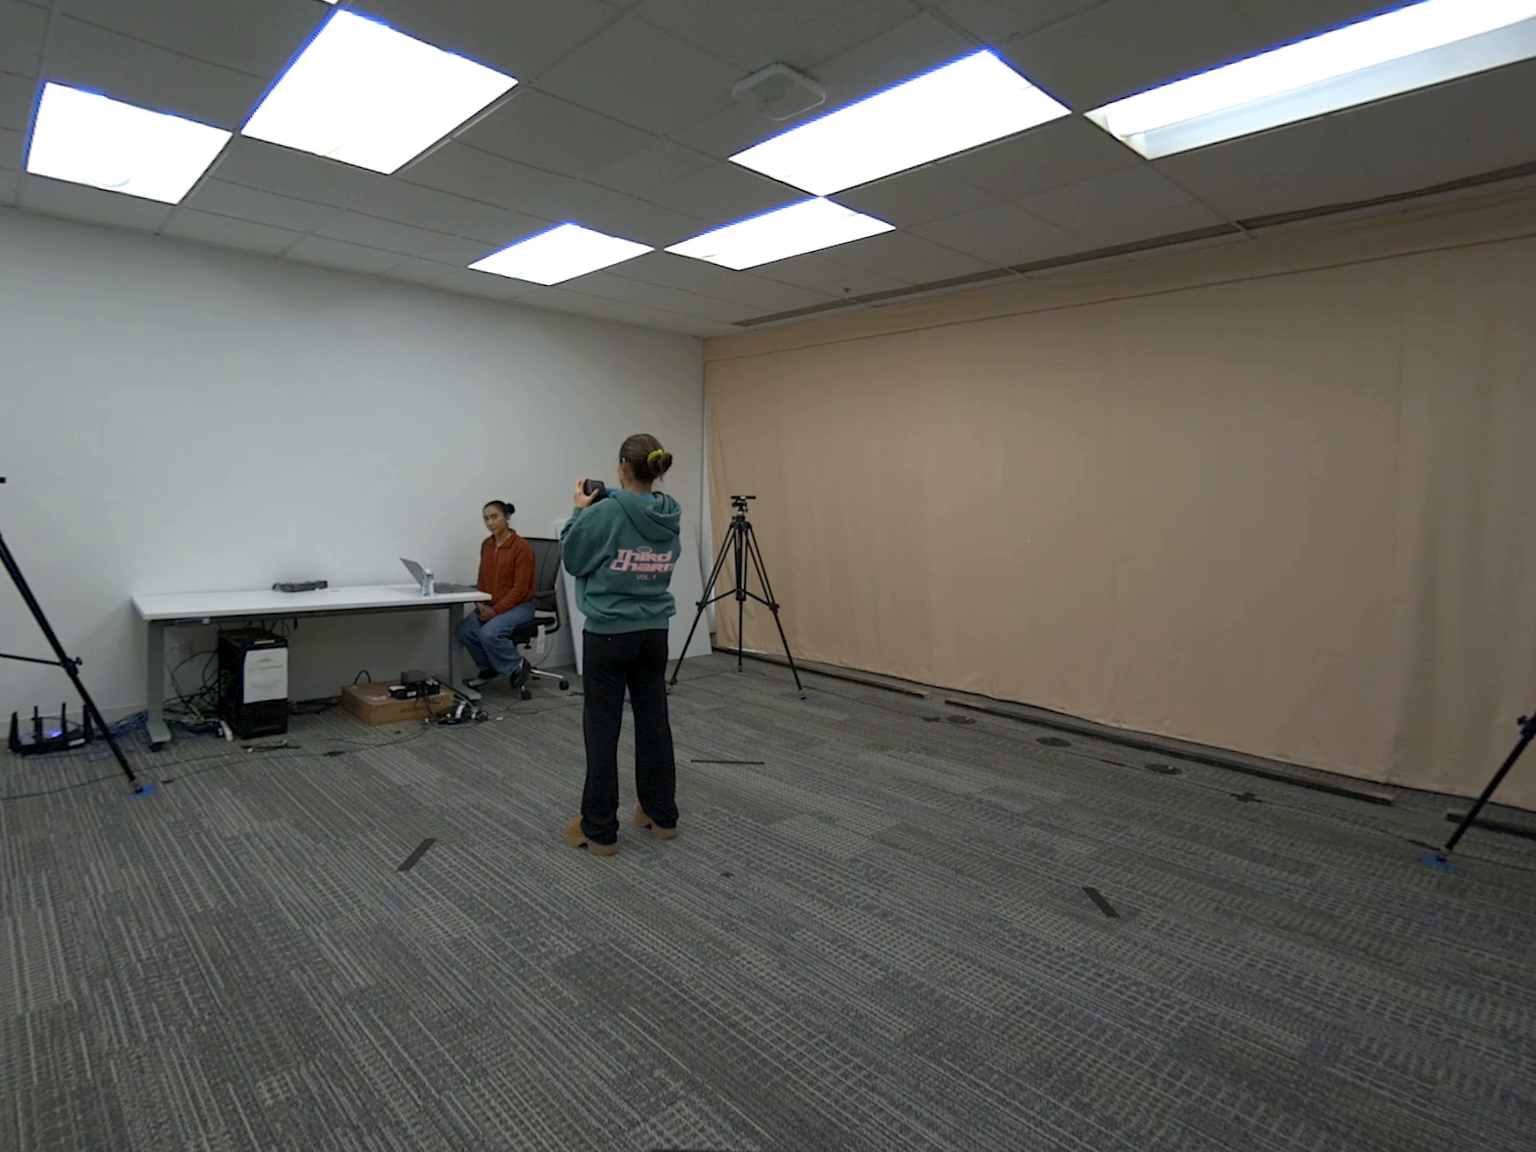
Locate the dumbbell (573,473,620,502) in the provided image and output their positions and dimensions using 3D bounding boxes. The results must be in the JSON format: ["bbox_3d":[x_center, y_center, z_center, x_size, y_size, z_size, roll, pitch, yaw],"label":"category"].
[{"bbox_3d":[-0.633,-0.329,3.463,0.286,0.125,0.109,1,-24,-43],"label":"dumbbell"}]
